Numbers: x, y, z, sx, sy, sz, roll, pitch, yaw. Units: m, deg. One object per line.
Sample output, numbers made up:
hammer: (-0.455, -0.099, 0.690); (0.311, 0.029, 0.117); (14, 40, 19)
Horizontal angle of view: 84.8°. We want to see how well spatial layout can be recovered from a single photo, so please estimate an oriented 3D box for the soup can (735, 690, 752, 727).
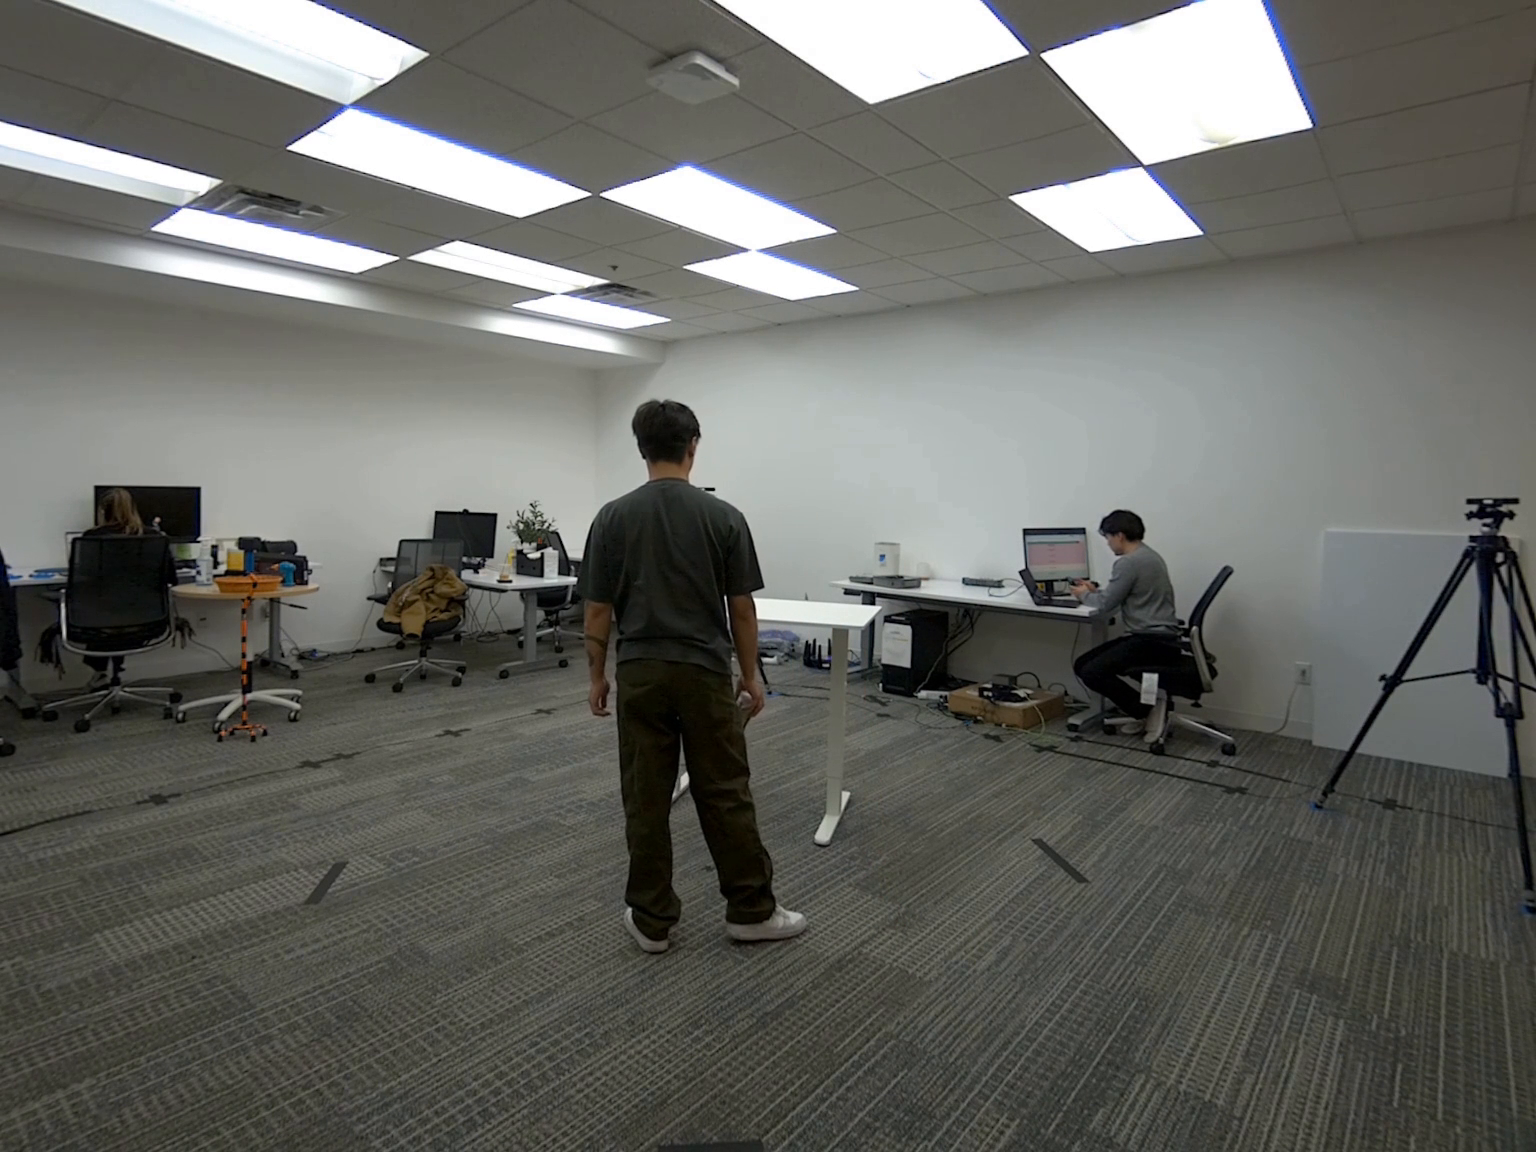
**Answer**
soup can: (-0.094, 0.445, 2.779); (0.067, 0.121, 0.068); (25, 6, -5)
